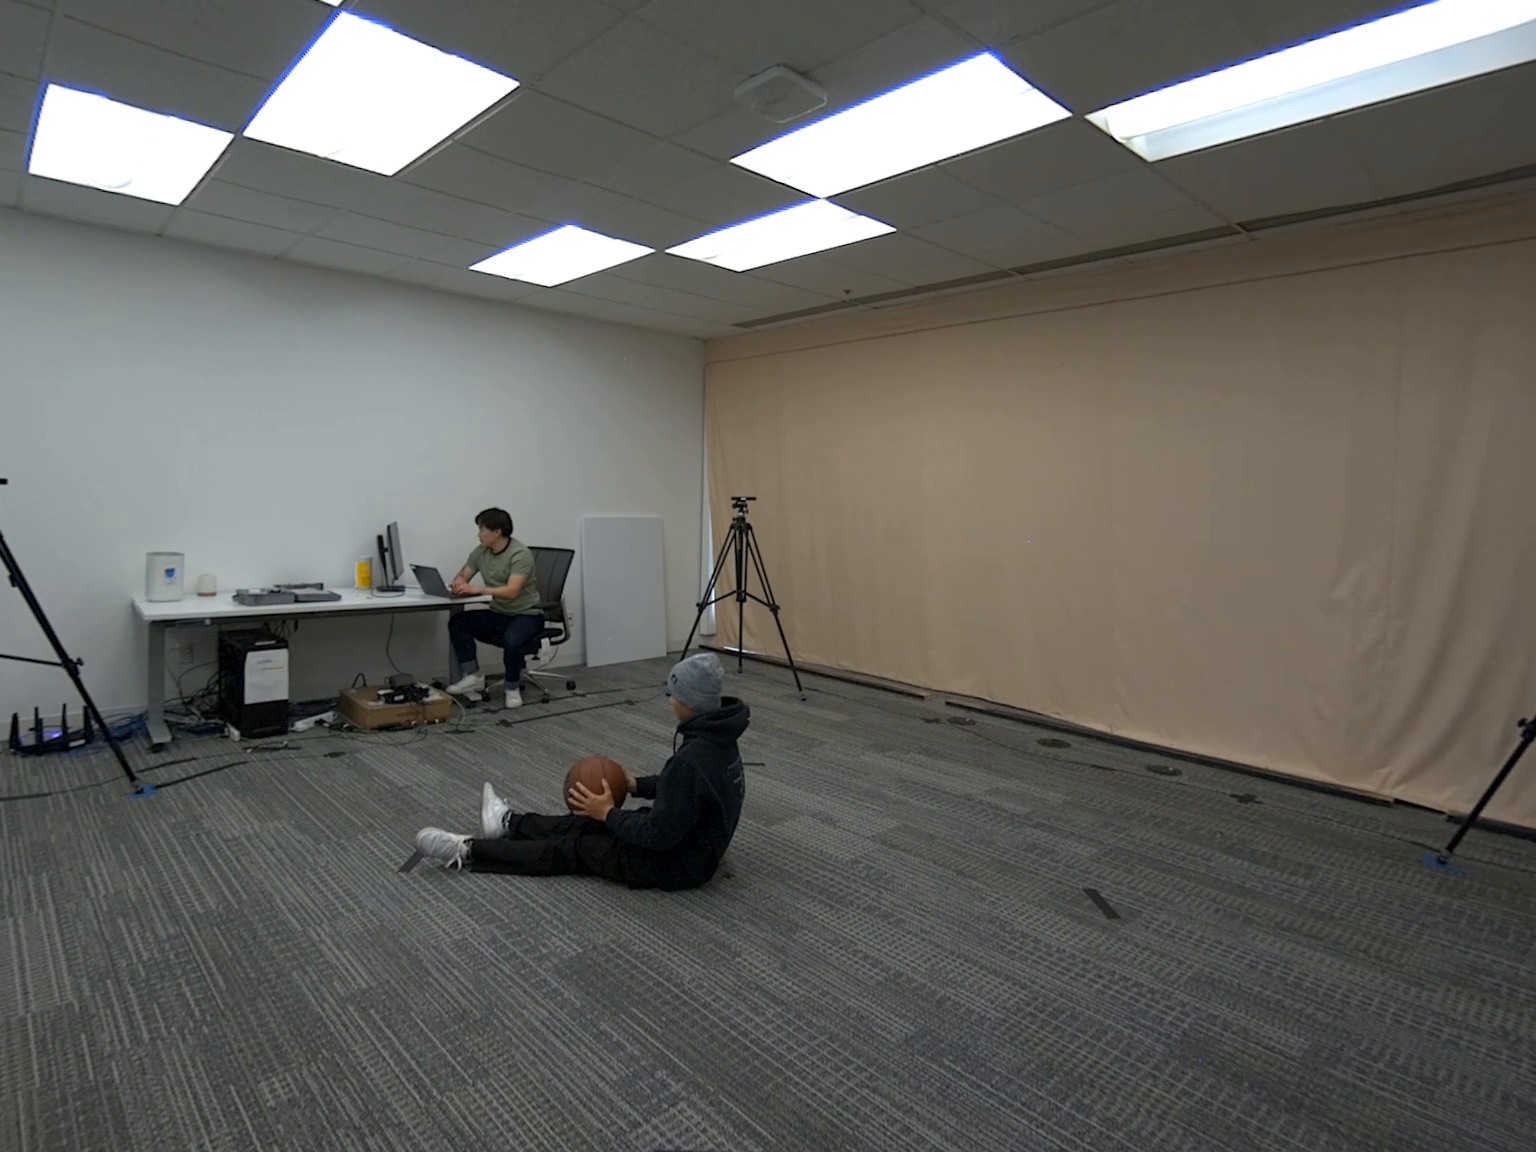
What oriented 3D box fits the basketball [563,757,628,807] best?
[{"bbox_3d":[-0.648,0.794,3.165,0.236,0.235,0.237,1,4,-1],"label":"basketball"}]
